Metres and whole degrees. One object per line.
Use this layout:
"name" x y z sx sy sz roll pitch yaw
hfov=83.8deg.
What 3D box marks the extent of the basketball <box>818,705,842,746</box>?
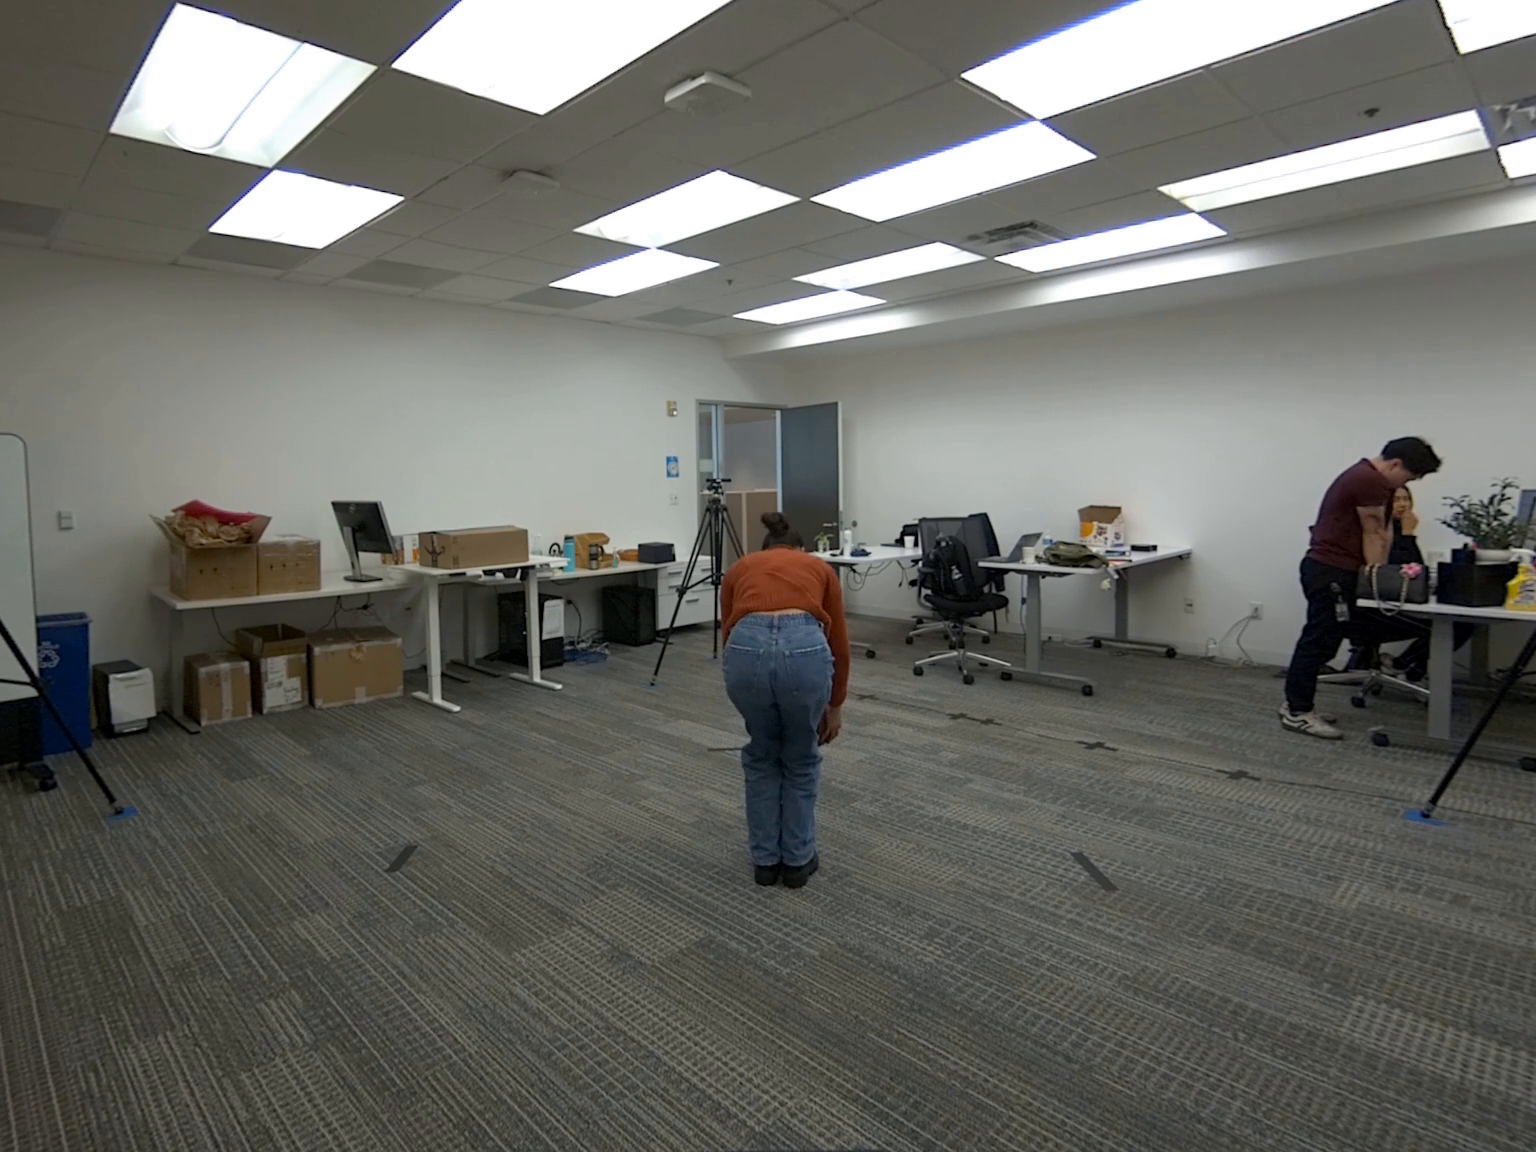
"basketball" 0.154 0.550 3.315 0.236 0.235 0.237 -1 5 -2
